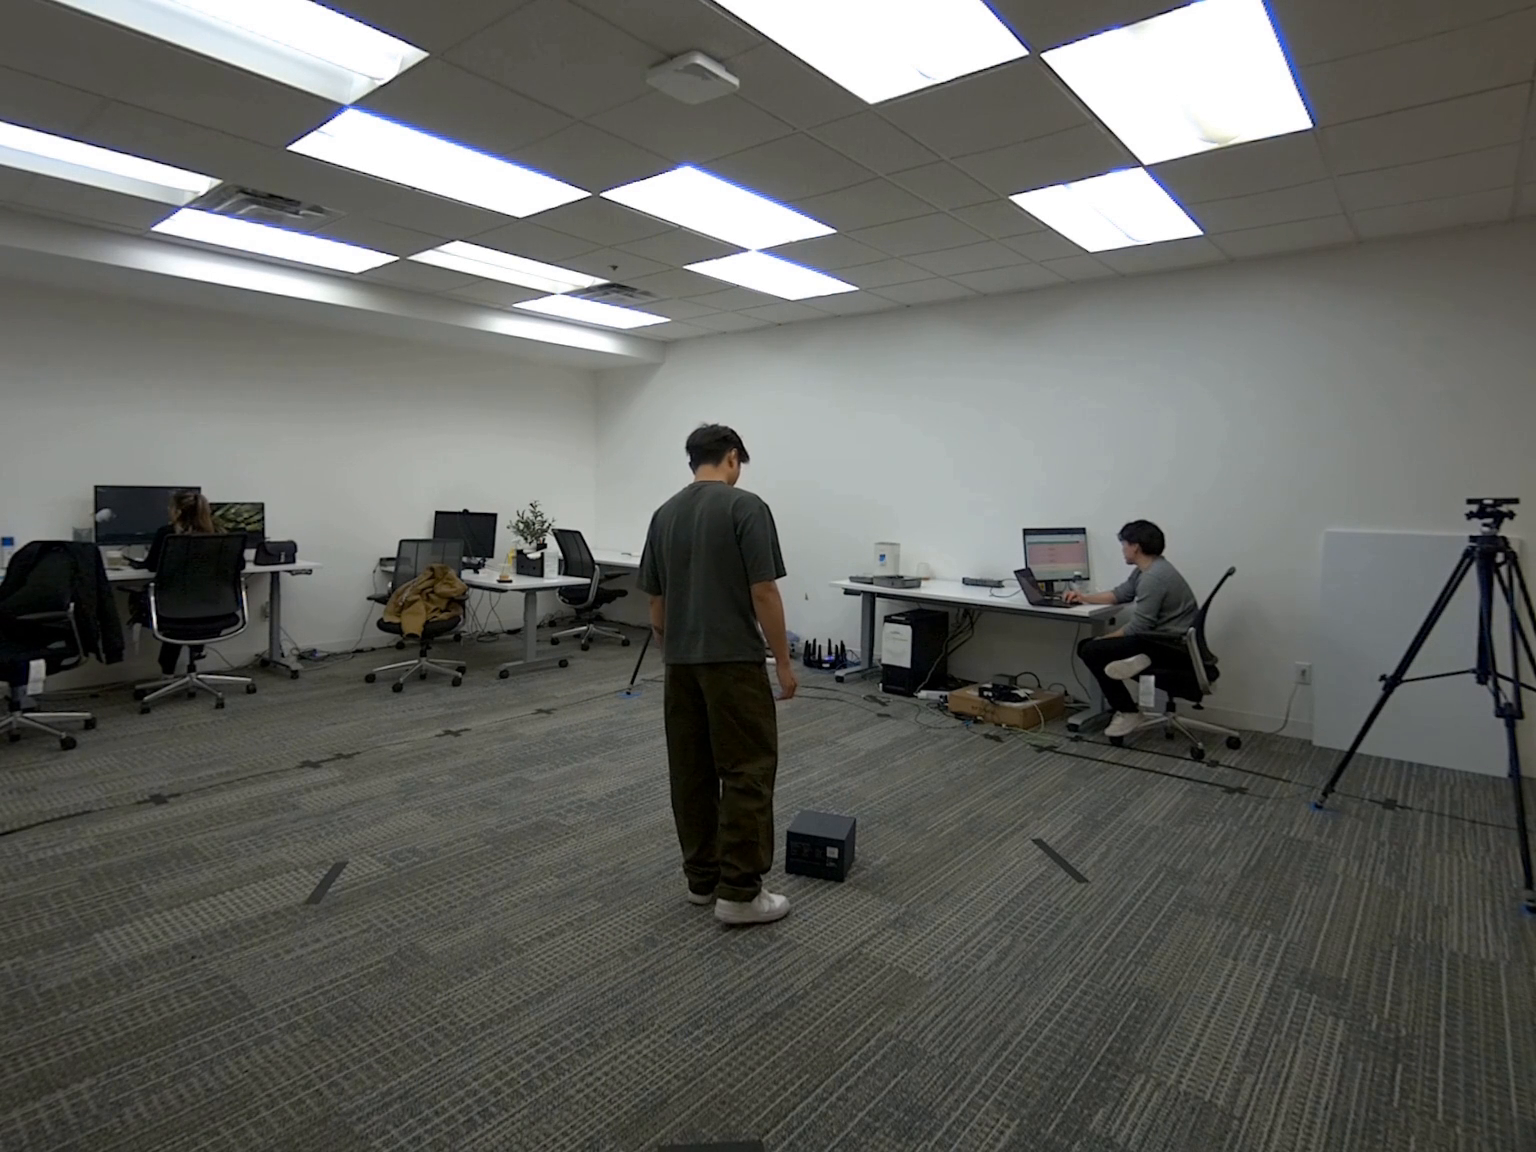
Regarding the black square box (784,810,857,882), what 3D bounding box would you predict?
[{"bbox_3d":[0.190,0.986,3.154,0.221,0.155,0.224,3,5,17],"label":"black square box"}]
